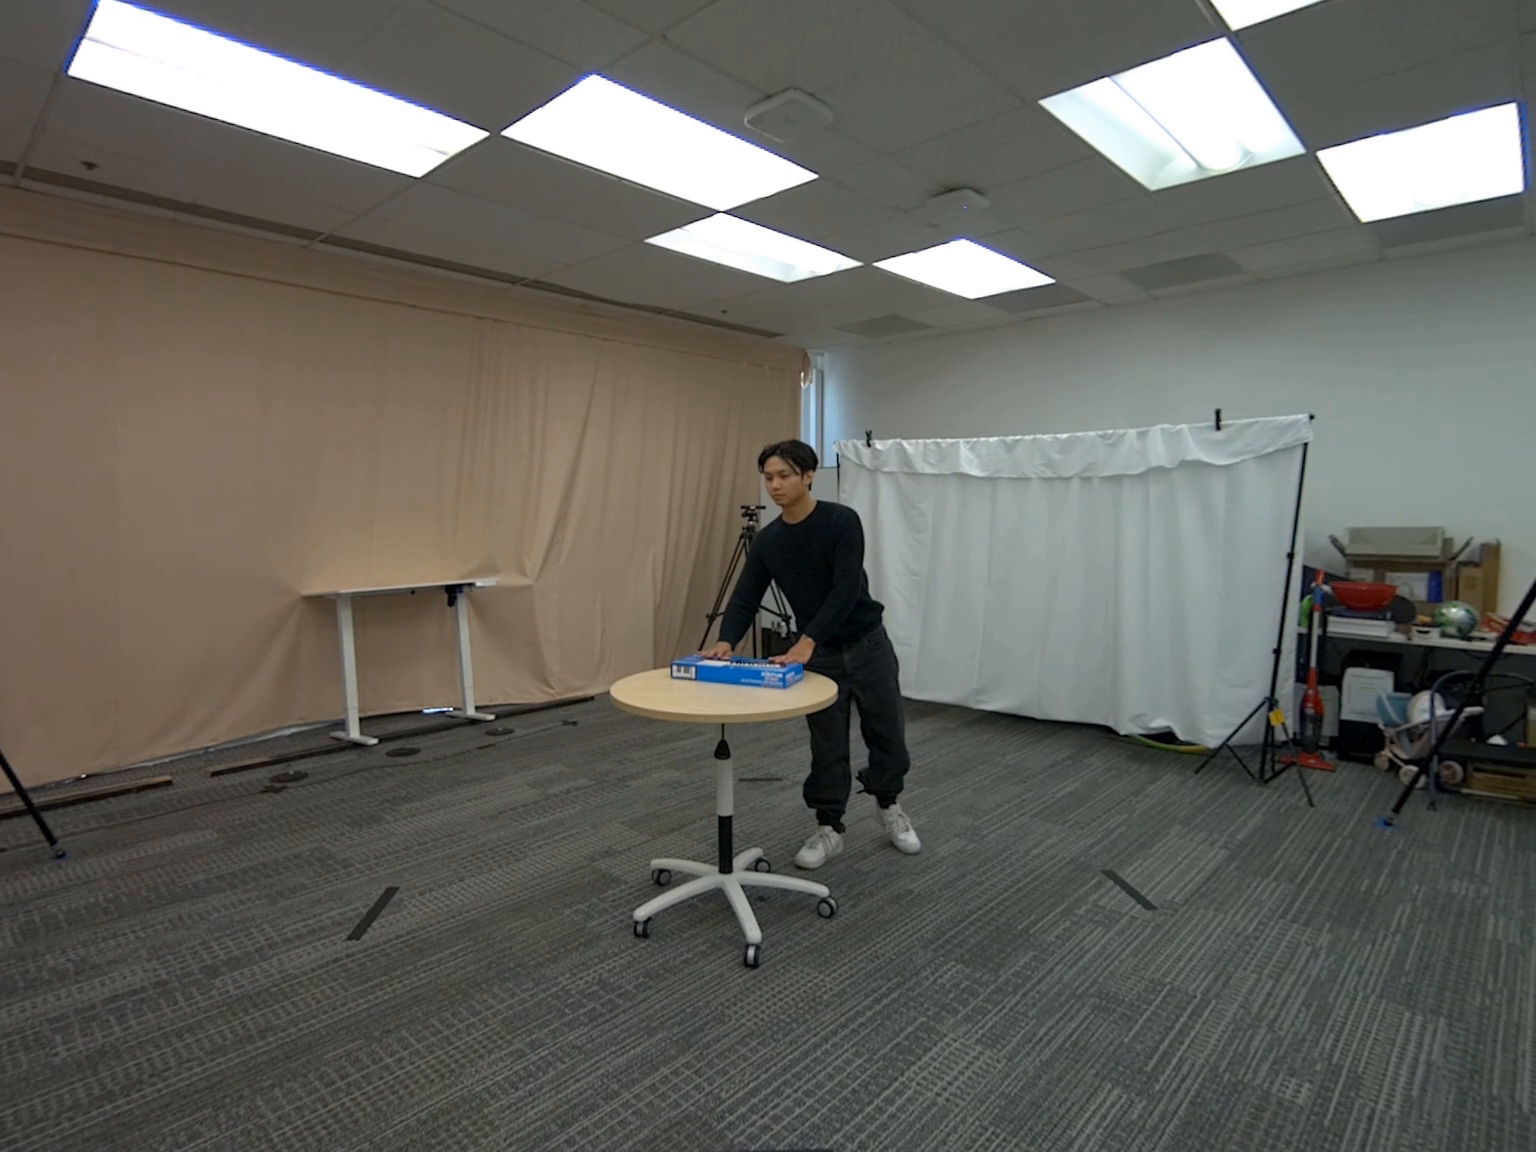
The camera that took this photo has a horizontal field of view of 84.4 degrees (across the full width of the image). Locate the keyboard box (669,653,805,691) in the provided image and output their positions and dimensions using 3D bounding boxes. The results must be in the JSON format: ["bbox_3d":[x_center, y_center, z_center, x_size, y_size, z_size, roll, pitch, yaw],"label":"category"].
[{"bbox_3d":[-0.110,0.330,2.954,0.448,0.059,0.172,2,6,26],"label":"keyboard box"}]
